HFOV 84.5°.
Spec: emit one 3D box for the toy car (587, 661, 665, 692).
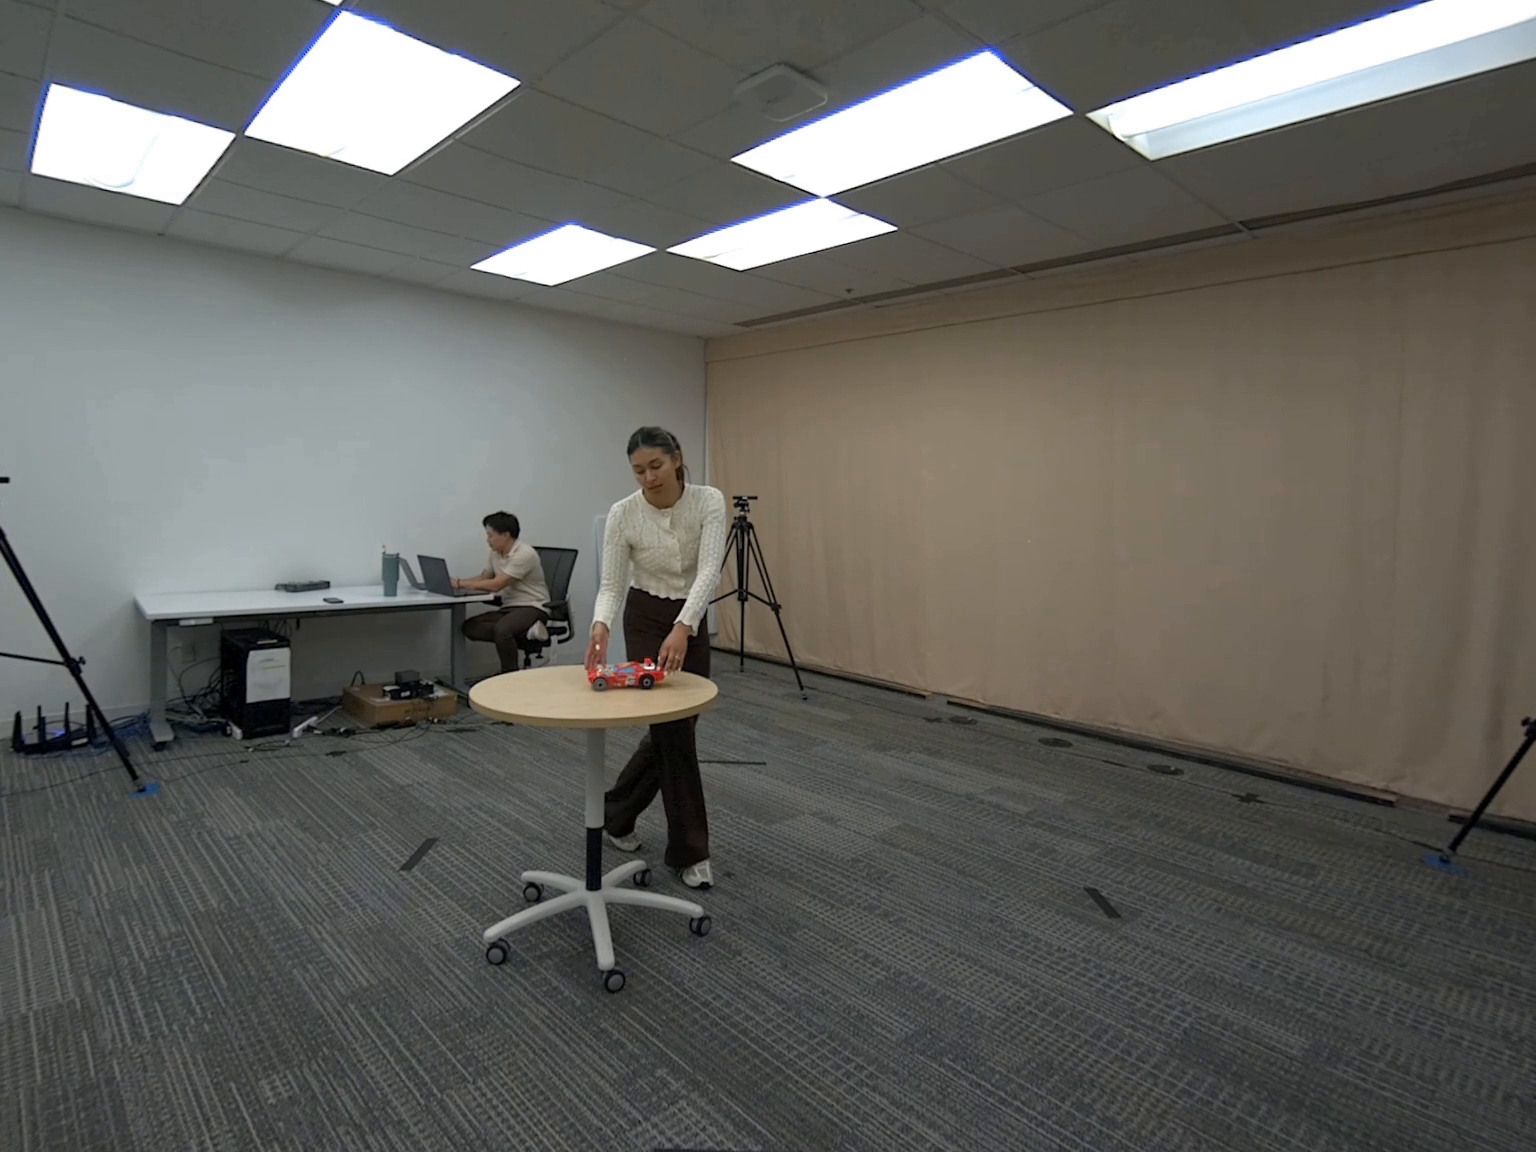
[{"bbox_3d":[-0.454,0.321,2.664,0.252,0.083,0.132,-10,7,-13],"label":"toy car"}]
